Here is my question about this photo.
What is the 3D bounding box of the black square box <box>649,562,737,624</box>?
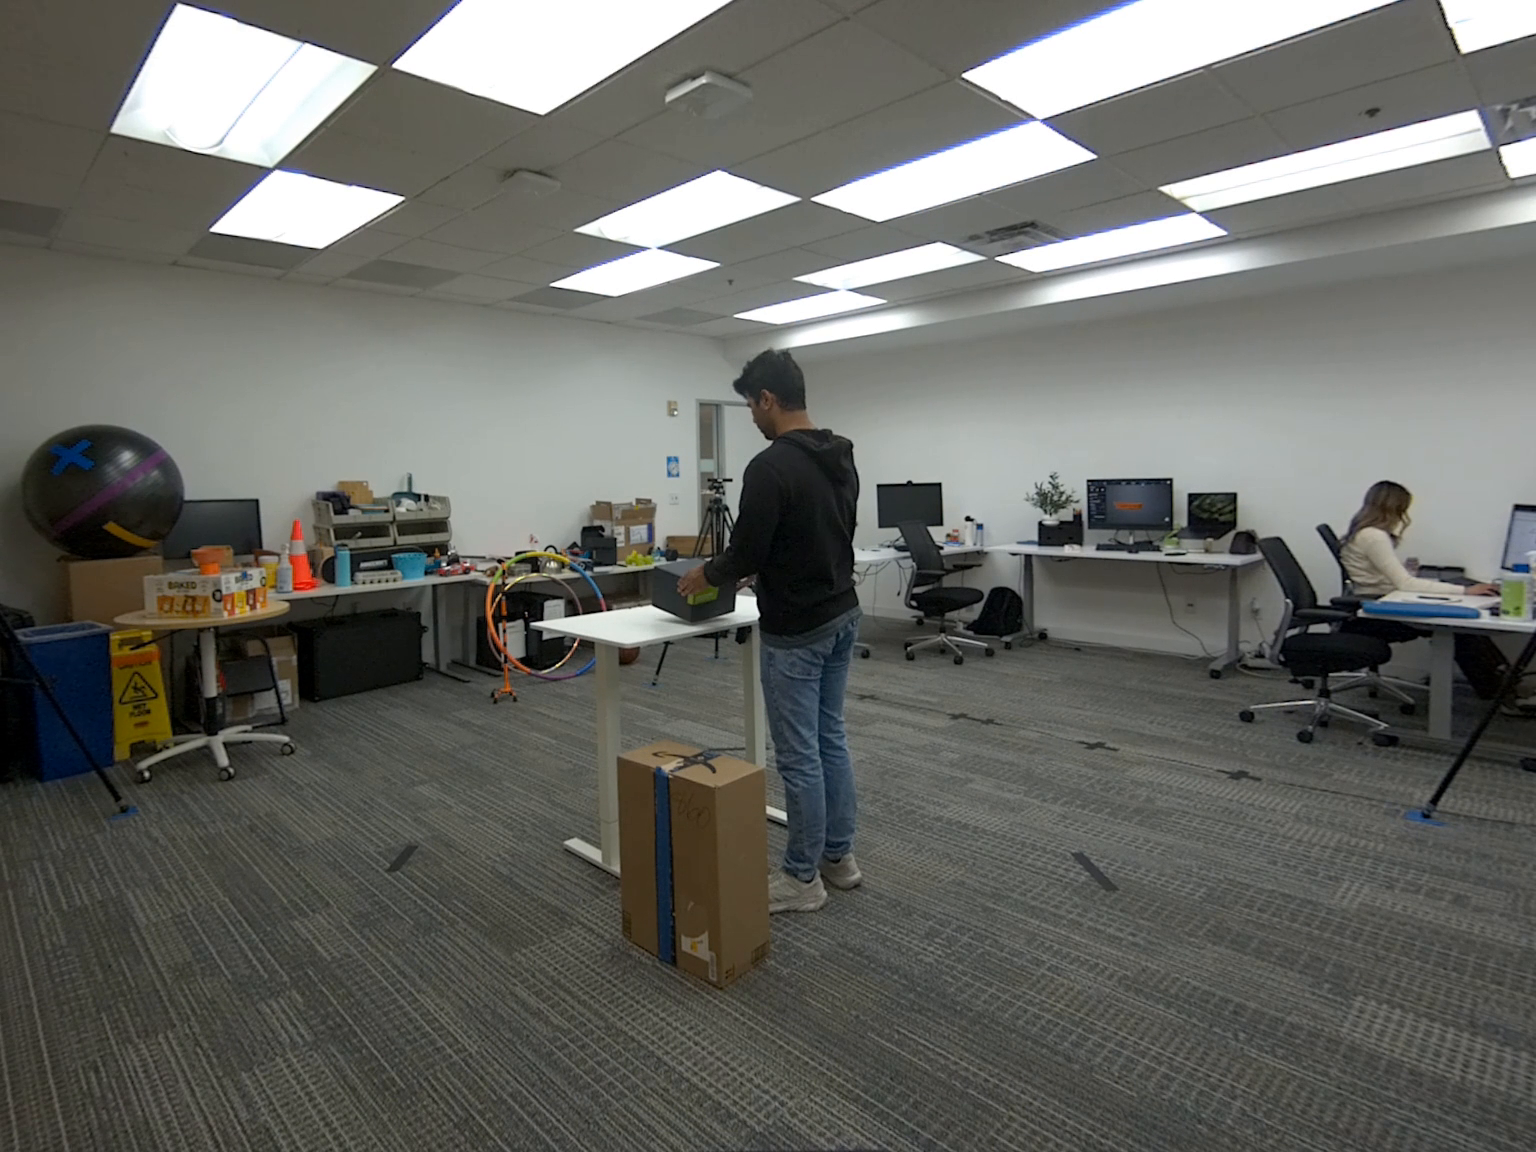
[{"bbox_3d":[-0.273,0.048,3.123,0.225,0.154,0.222,18,20,39],"label":"black square box"}]
